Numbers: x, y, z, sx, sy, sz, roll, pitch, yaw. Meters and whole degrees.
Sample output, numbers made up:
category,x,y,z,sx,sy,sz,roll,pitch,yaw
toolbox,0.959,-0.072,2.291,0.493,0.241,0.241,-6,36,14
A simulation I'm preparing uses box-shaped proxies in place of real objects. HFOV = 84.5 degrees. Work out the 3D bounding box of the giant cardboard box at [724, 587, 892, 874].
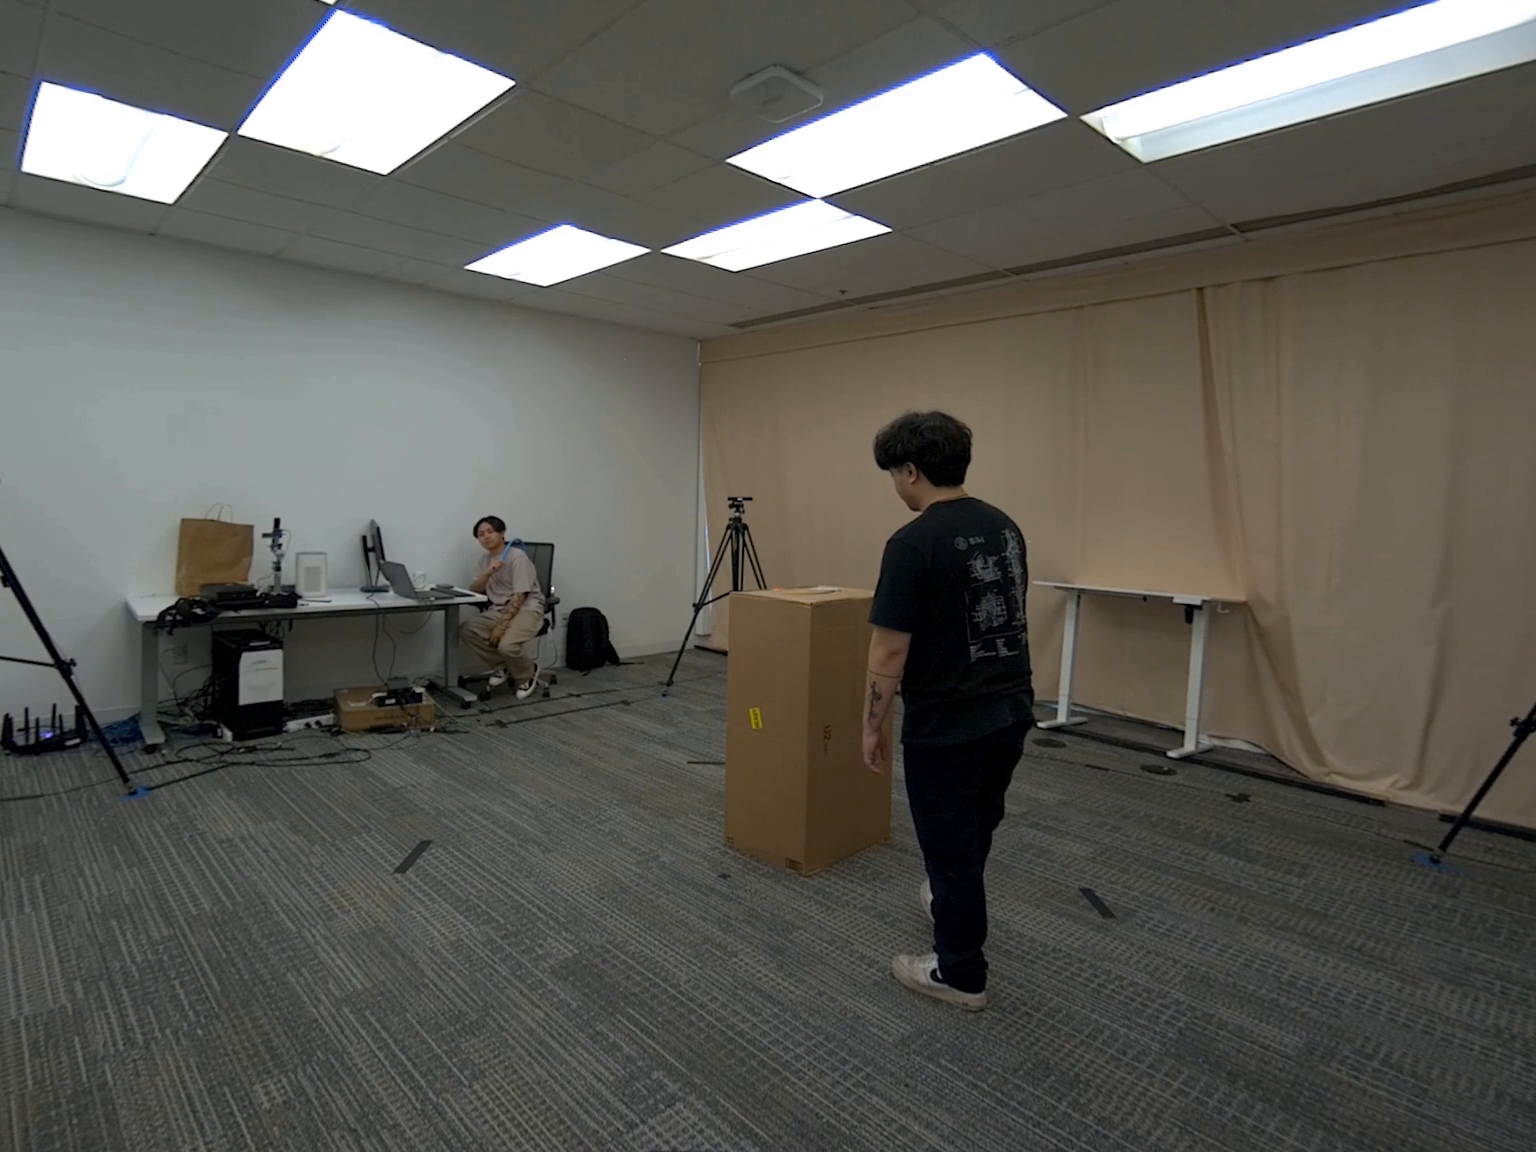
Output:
category,x,y,z,sx,sy,sz,roll,pitch,yaw
giant cardboard box,0.171,0.577,3.435,0.458,1.025,0.570,4,4,44
